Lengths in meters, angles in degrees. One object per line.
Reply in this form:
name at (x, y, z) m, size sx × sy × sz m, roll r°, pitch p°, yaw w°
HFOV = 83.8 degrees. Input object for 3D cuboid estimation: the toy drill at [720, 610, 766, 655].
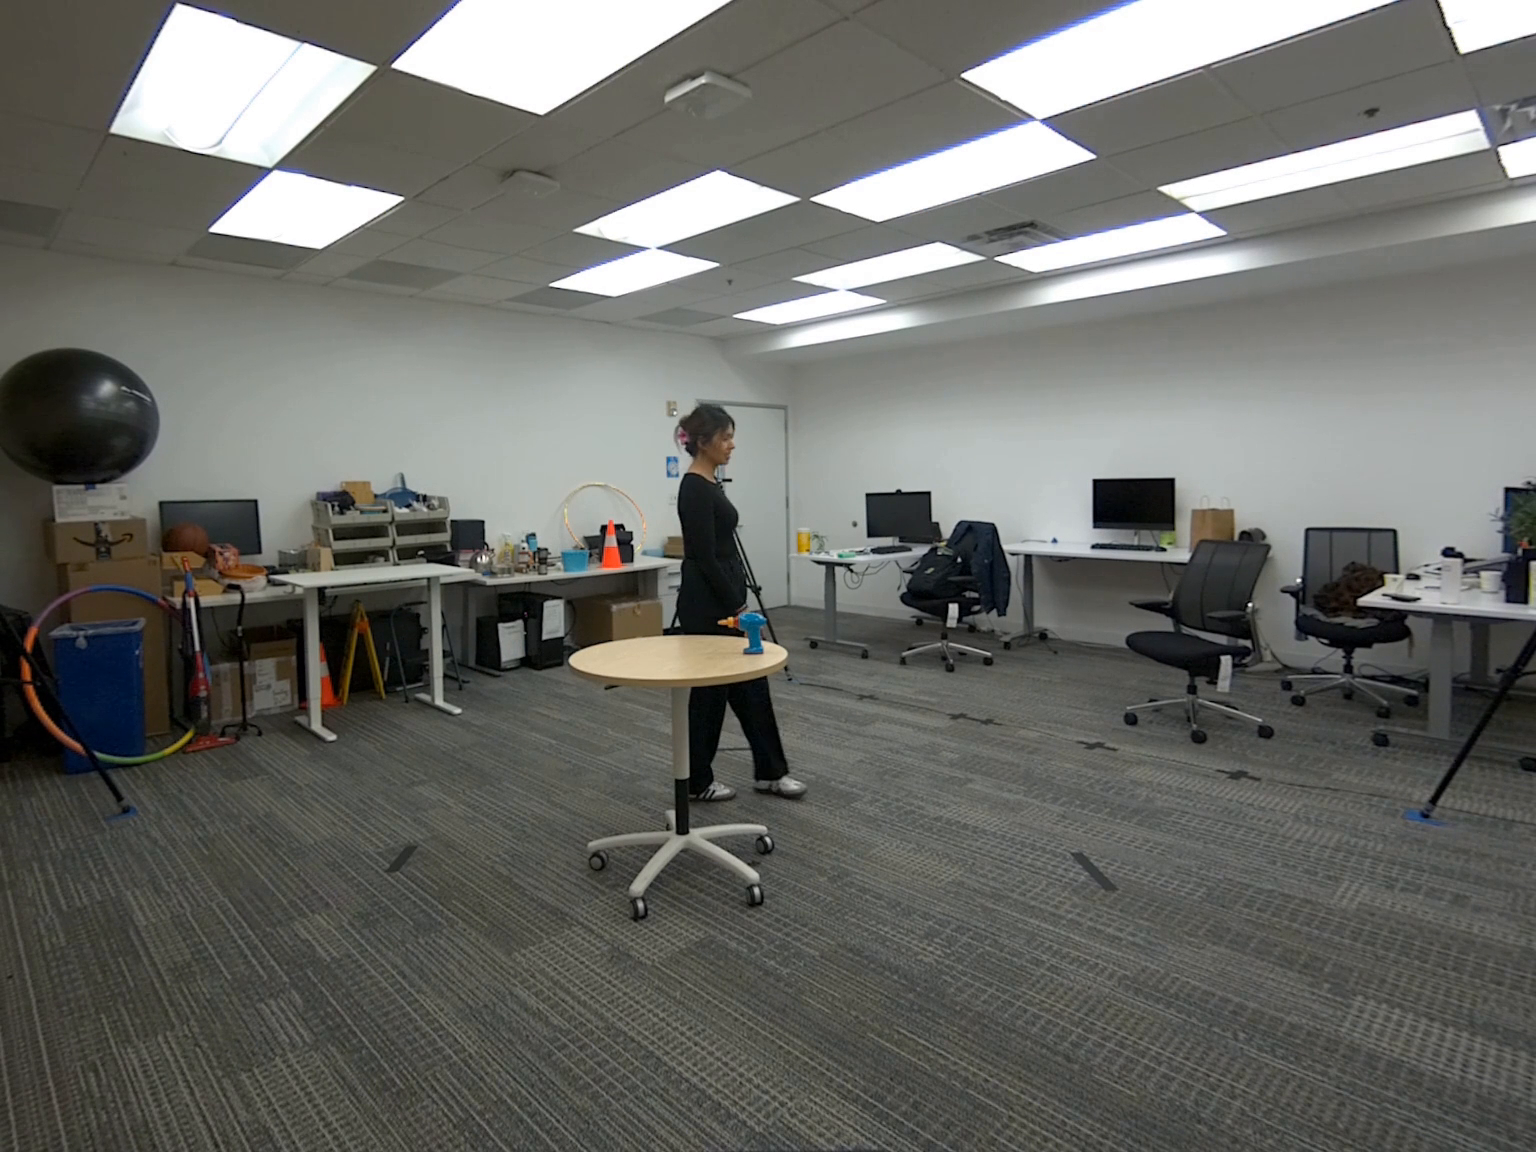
toy drill at (-0.086, 0.203, 2.998) m, size 0.169 × 0.145 × 0.061 m, roll -2°, pitch 4°, yaw -1°
